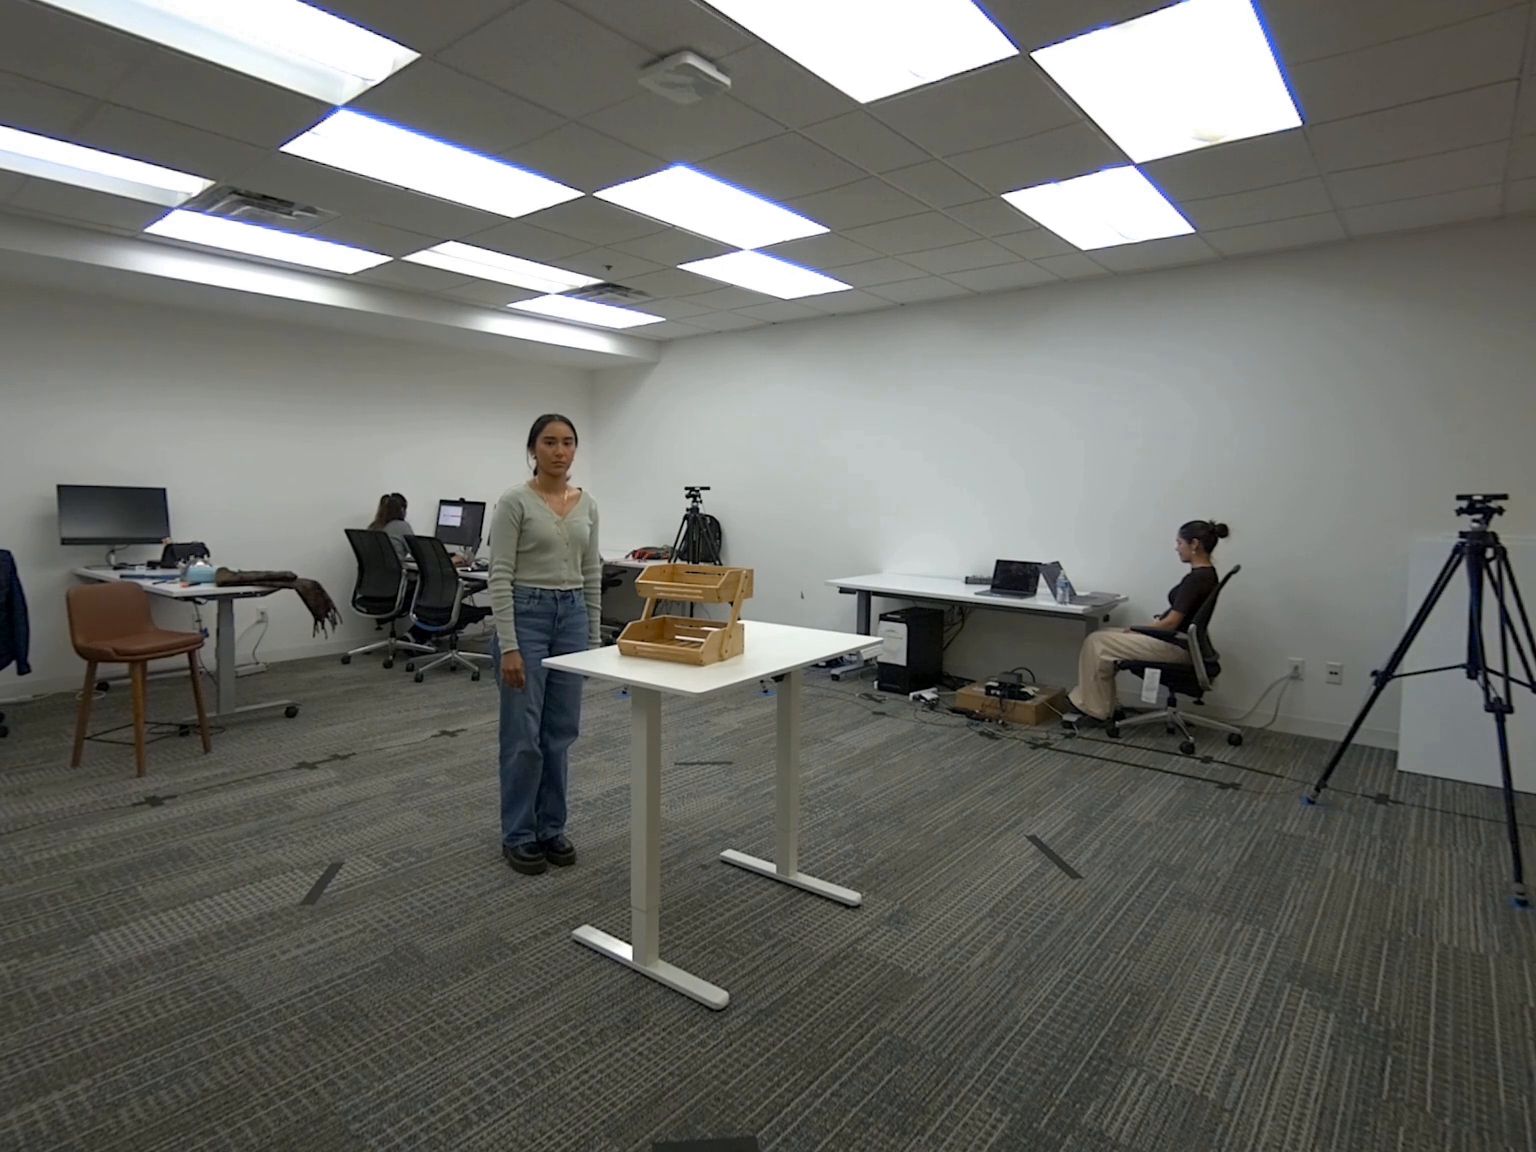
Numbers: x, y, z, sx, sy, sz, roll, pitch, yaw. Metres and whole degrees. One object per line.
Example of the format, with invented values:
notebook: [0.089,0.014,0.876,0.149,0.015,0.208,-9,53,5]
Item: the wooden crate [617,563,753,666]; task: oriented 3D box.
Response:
wooden crate: [-0.260,0.104,2.593,0.334,0.272,0.294,4,5,29]
